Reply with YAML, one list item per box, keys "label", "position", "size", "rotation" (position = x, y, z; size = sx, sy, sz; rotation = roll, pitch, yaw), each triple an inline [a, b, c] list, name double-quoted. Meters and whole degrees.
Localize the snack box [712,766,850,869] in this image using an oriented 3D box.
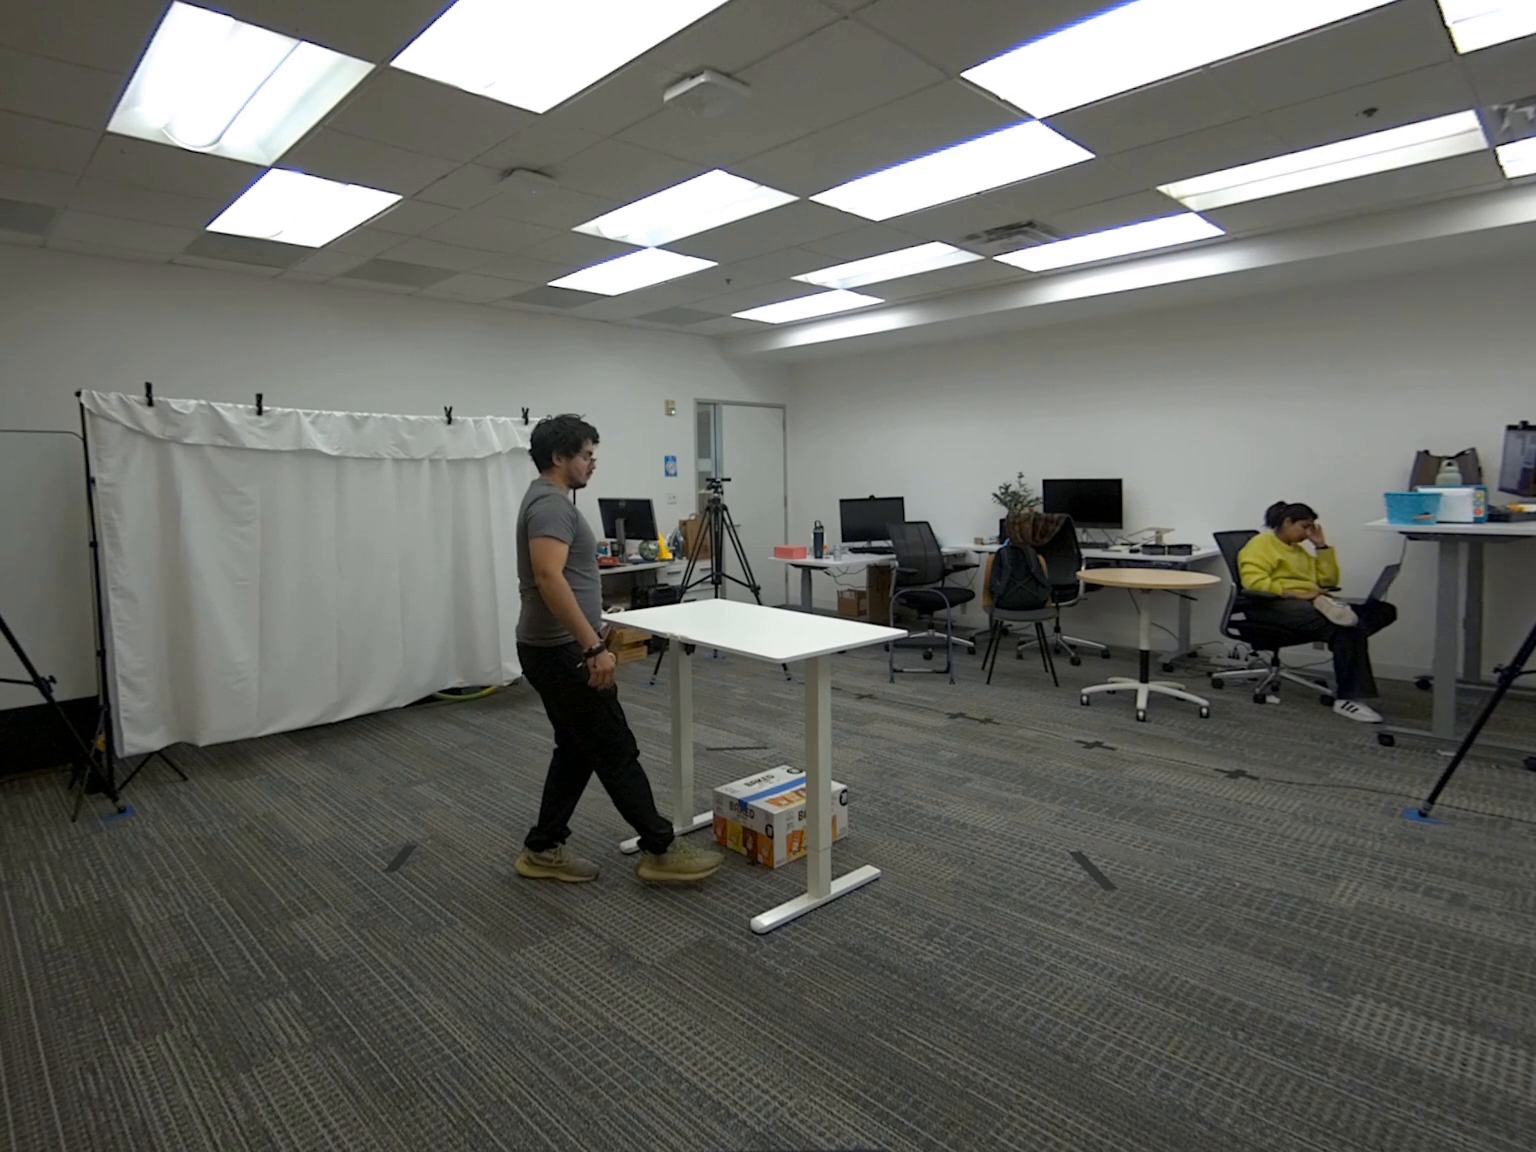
- label: "snack box"
  position: [0.049, 0.918, 3.302]
  size: [0.394, 0.205, 0.351]
  rotation: [-7, 8, -43]
